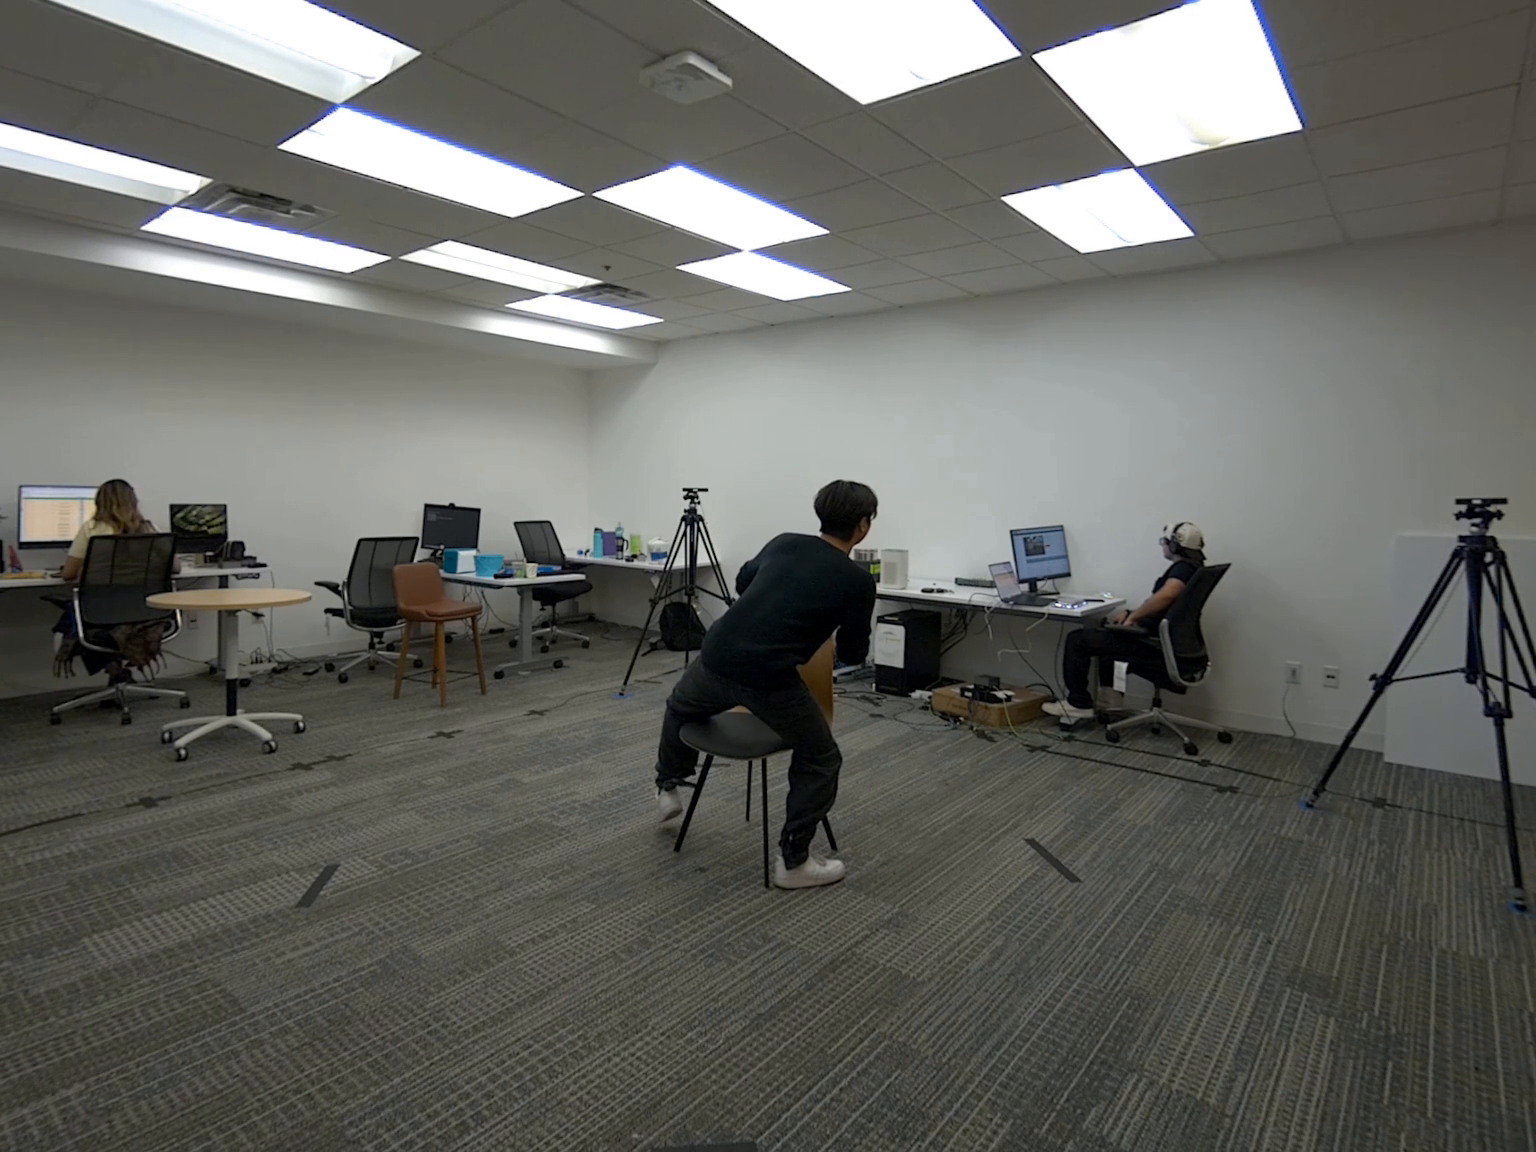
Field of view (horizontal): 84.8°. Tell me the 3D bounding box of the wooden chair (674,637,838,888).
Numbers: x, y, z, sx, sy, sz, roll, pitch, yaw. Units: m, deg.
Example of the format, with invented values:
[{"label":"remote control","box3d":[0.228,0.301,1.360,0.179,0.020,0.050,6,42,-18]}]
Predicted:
[{"label":"wooden chair","box3d":[-0.047,0.631,3.249,0.494,0.877,0.506,5,1,39]}]
